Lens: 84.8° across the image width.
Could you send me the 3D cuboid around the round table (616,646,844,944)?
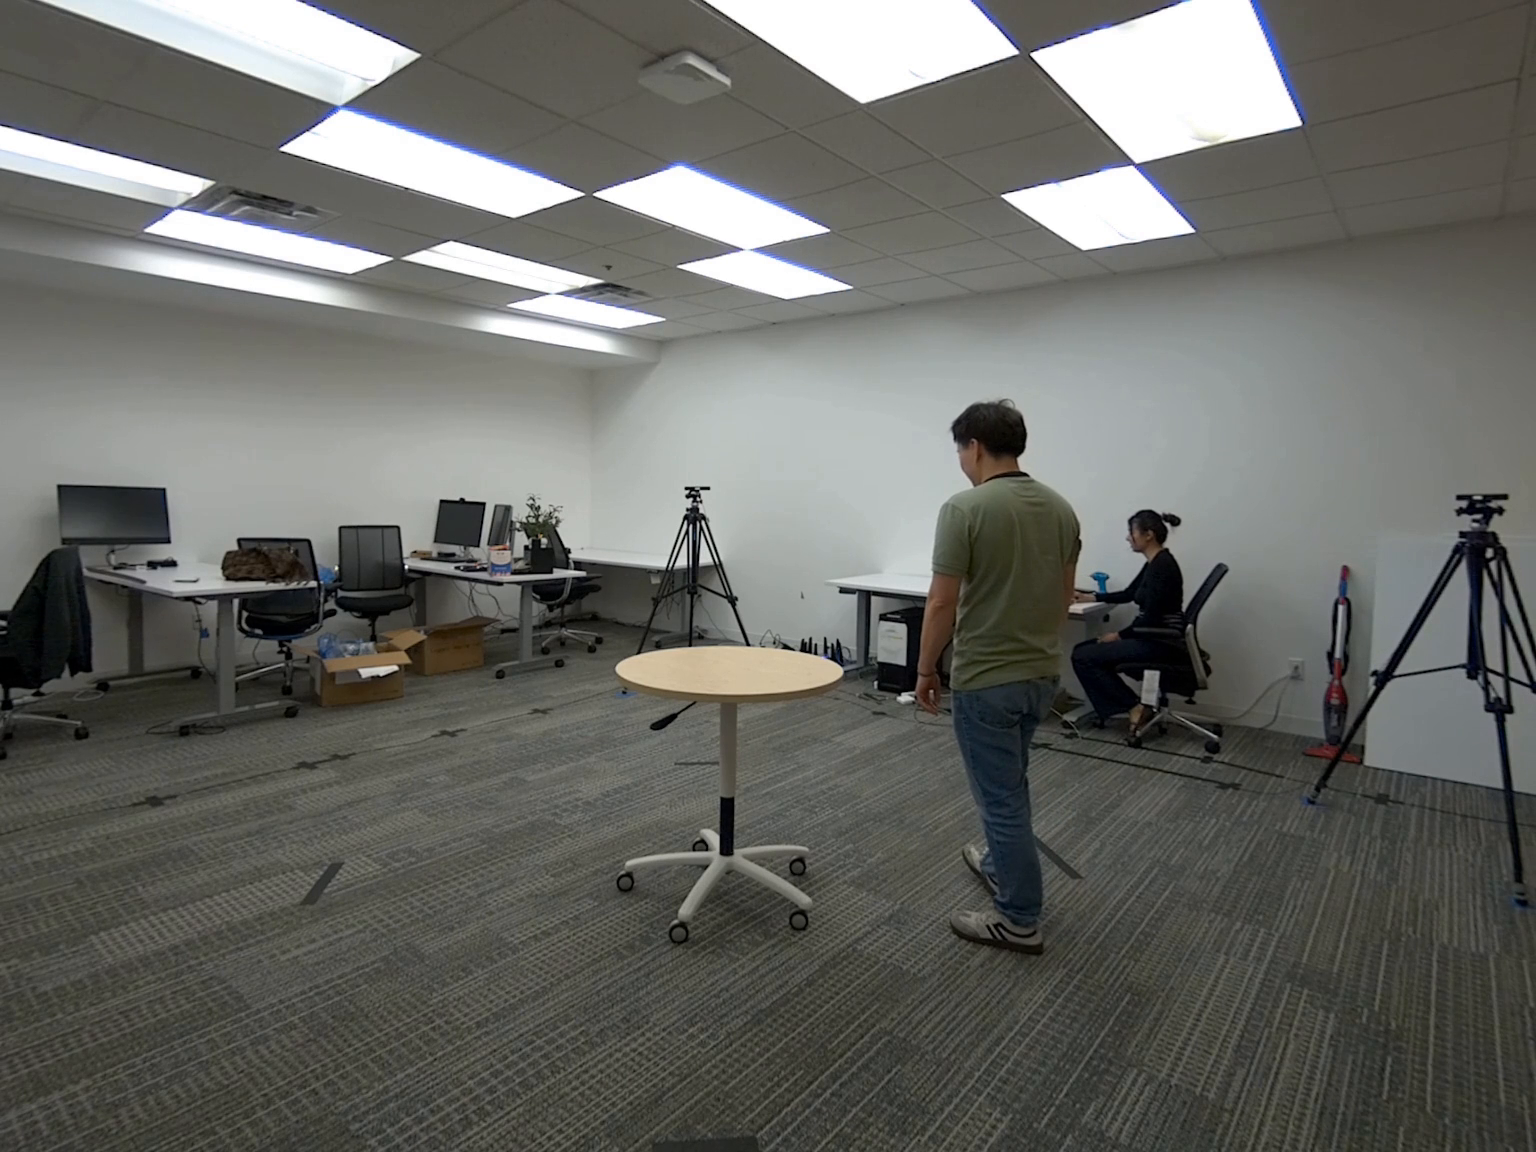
[{"bbox_3d":[-0.147,0.699,2.893,0.763,0.791,0.768,1,4,-2],"label":"round table"}]
